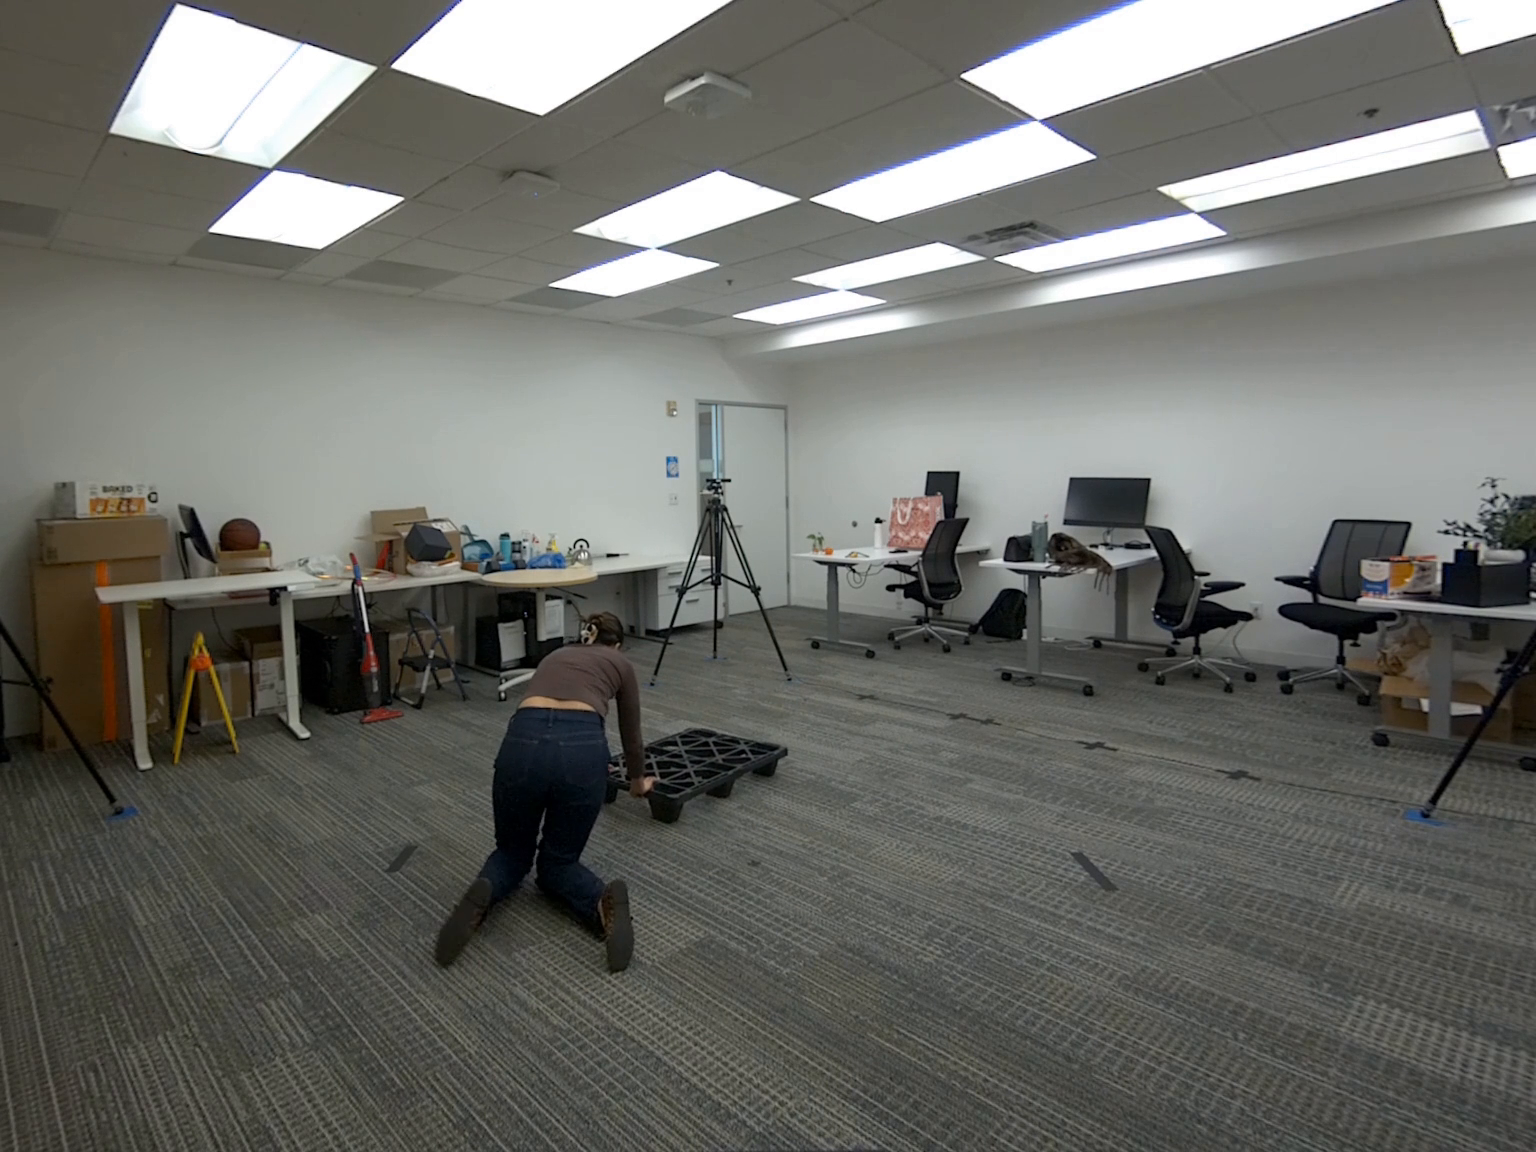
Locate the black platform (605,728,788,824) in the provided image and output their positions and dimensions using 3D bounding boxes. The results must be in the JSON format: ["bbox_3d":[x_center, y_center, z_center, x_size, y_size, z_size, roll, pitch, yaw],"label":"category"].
[{"bbox_3d":[-0.376,0.895,3.899,0.623,0.143,0.785,2,7,37],"label":"black platform"}]
